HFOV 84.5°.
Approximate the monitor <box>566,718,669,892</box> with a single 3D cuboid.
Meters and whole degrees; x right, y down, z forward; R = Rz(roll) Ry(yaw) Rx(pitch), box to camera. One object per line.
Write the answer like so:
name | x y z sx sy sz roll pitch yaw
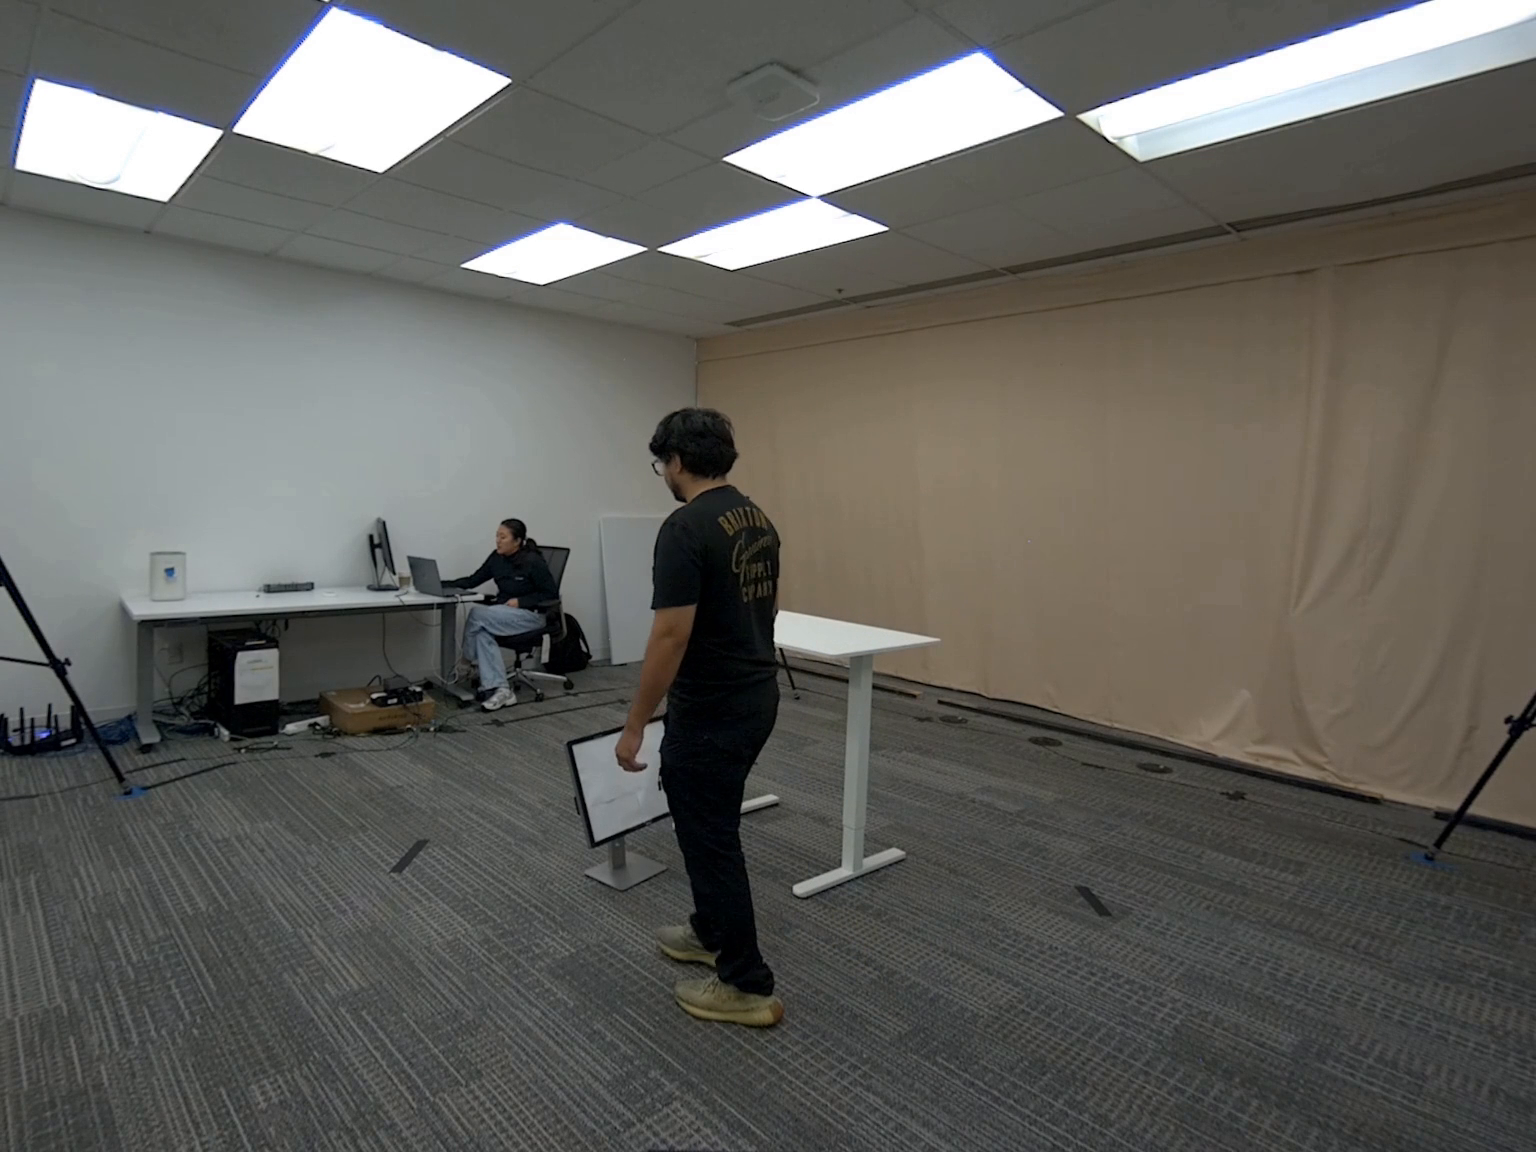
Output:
monitor | -0.549 0.828 3.109 0.214 0.555 0.553 -8 -3 34
